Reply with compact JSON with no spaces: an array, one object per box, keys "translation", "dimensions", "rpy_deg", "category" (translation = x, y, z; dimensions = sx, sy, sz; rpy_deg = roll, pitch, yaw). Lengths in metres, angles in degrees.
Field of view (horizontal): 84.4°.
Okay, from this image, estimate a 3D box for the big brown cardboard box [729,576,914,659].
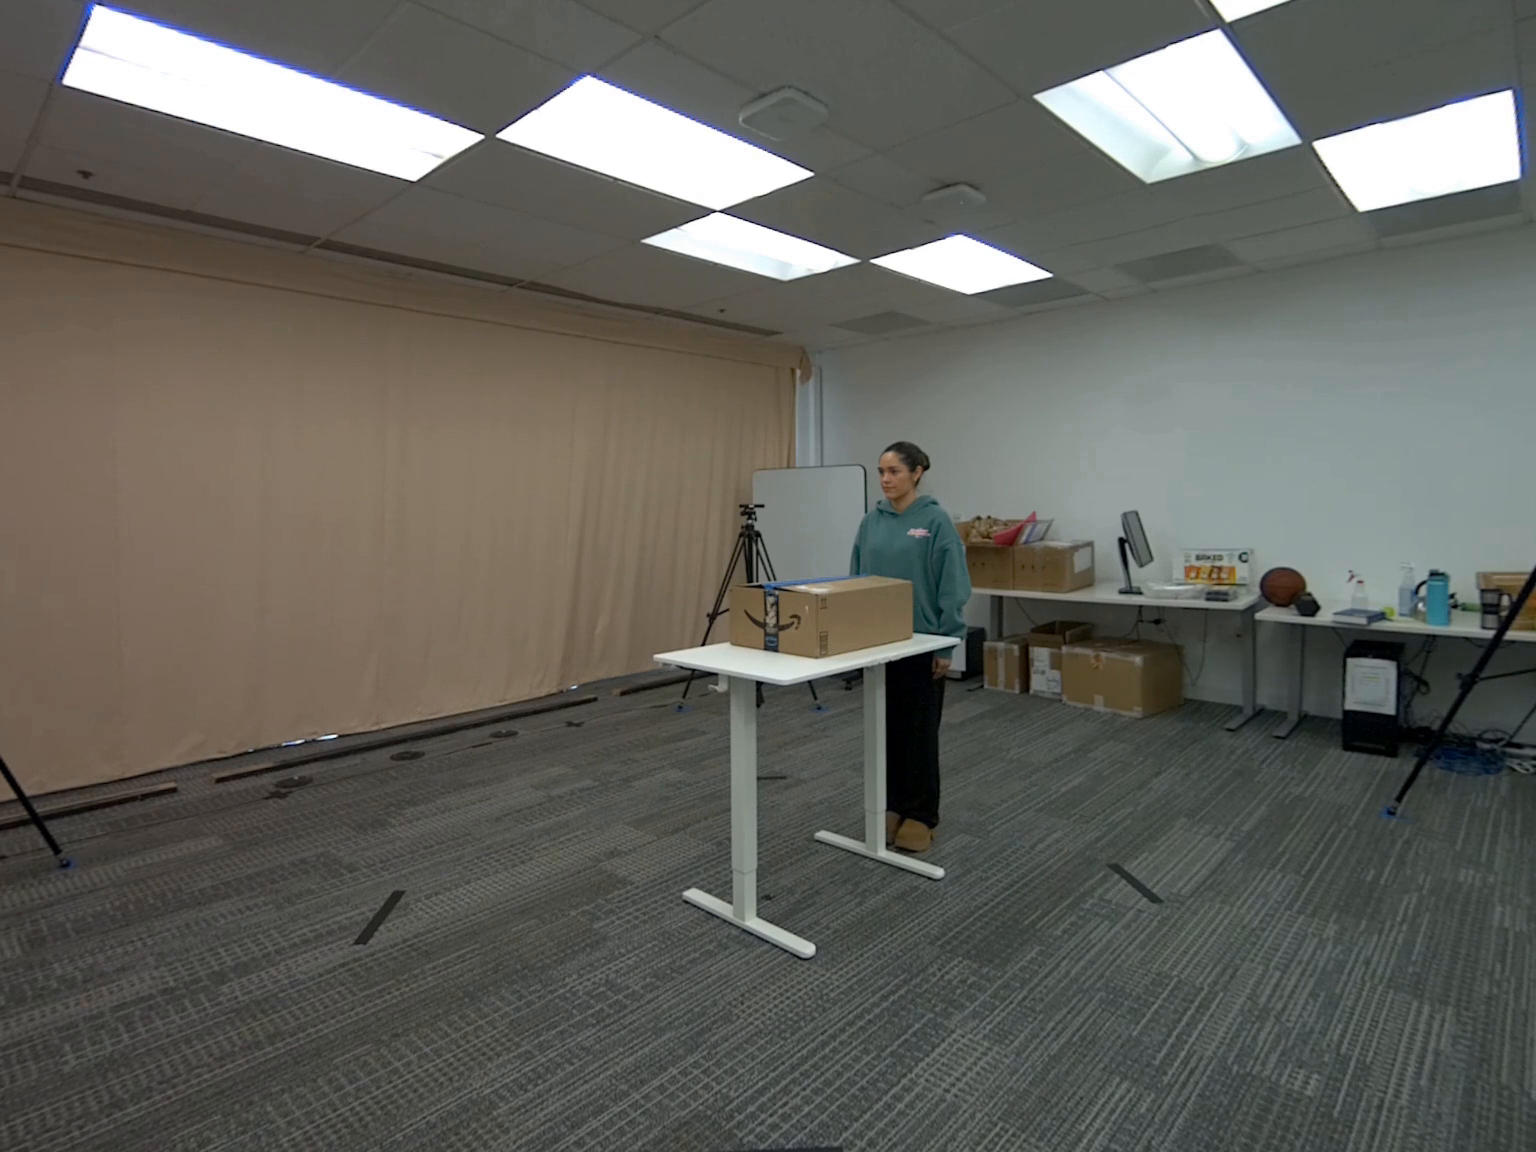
[{"translation":[0.198,0.135,3.096],"dimensions":[0.431,0.232,0.571],"rpy_deg":[4,6,44],"category":"big brown cardboard box"}]
